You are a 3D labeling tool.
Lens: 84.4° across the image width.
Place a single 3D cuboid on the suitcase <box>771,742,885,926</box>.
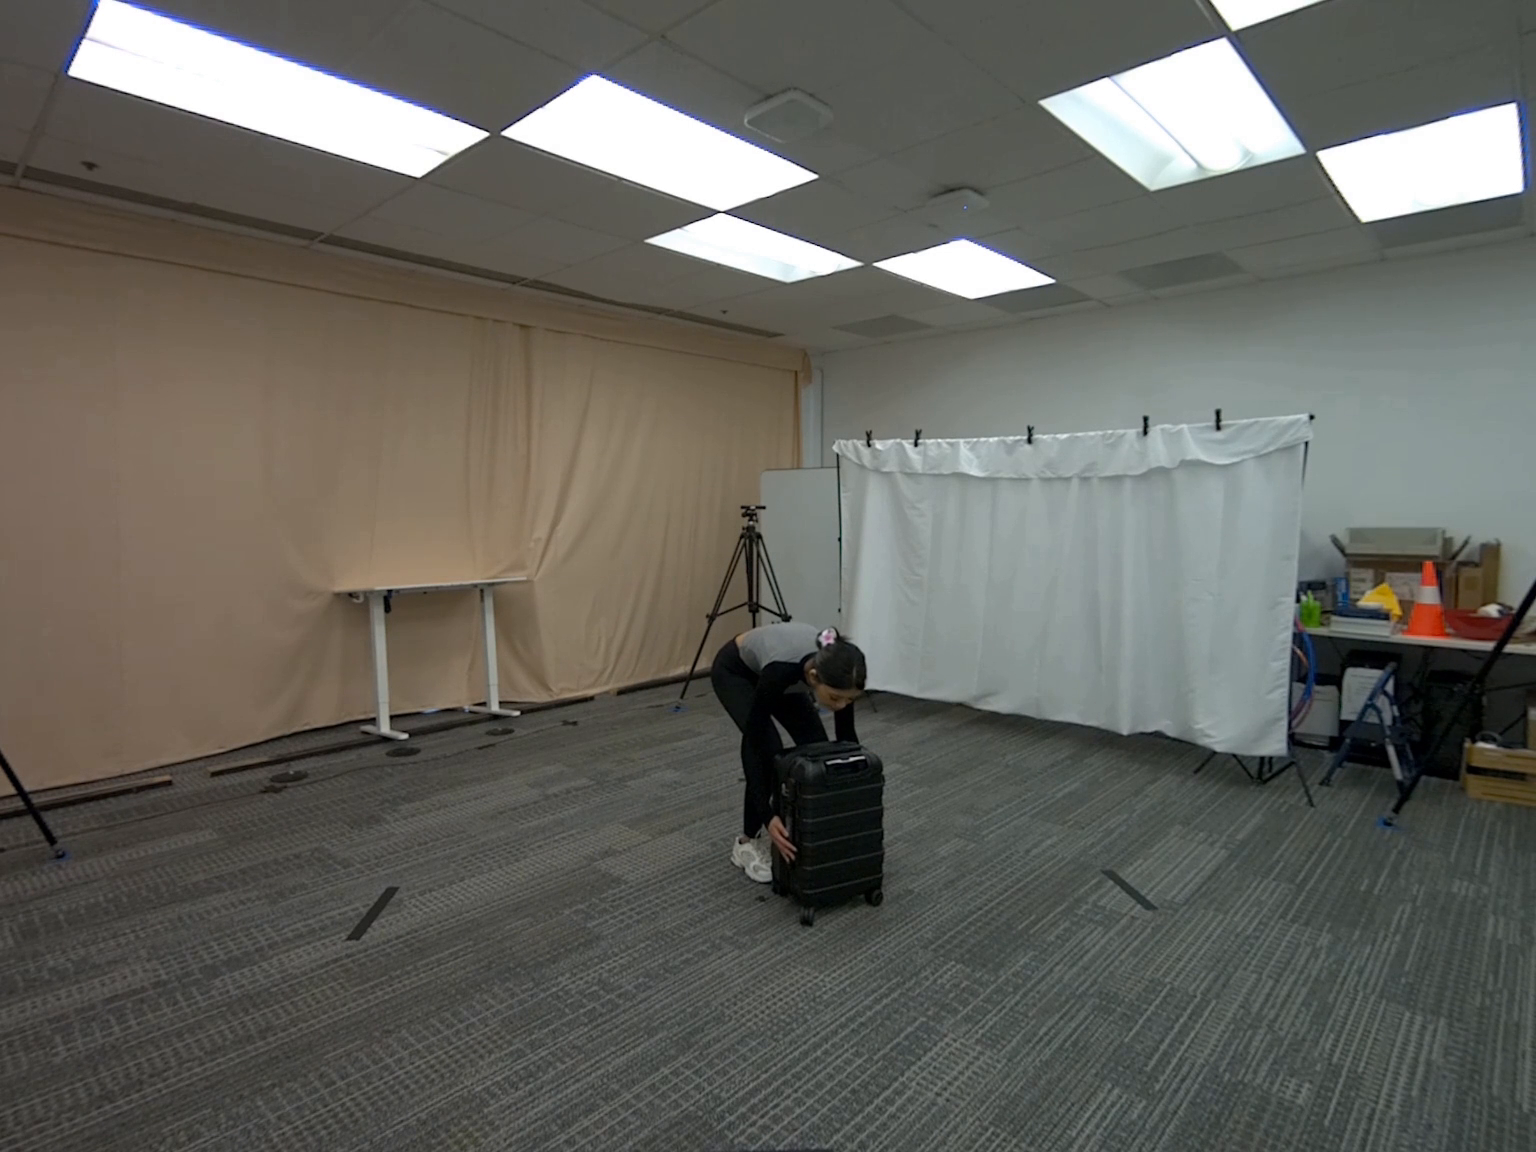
[{"bbox_3d":[0.211,0.867,2.963,0.366,0.548,0.255,-1,3,-27],"label":"suitcase"}]
